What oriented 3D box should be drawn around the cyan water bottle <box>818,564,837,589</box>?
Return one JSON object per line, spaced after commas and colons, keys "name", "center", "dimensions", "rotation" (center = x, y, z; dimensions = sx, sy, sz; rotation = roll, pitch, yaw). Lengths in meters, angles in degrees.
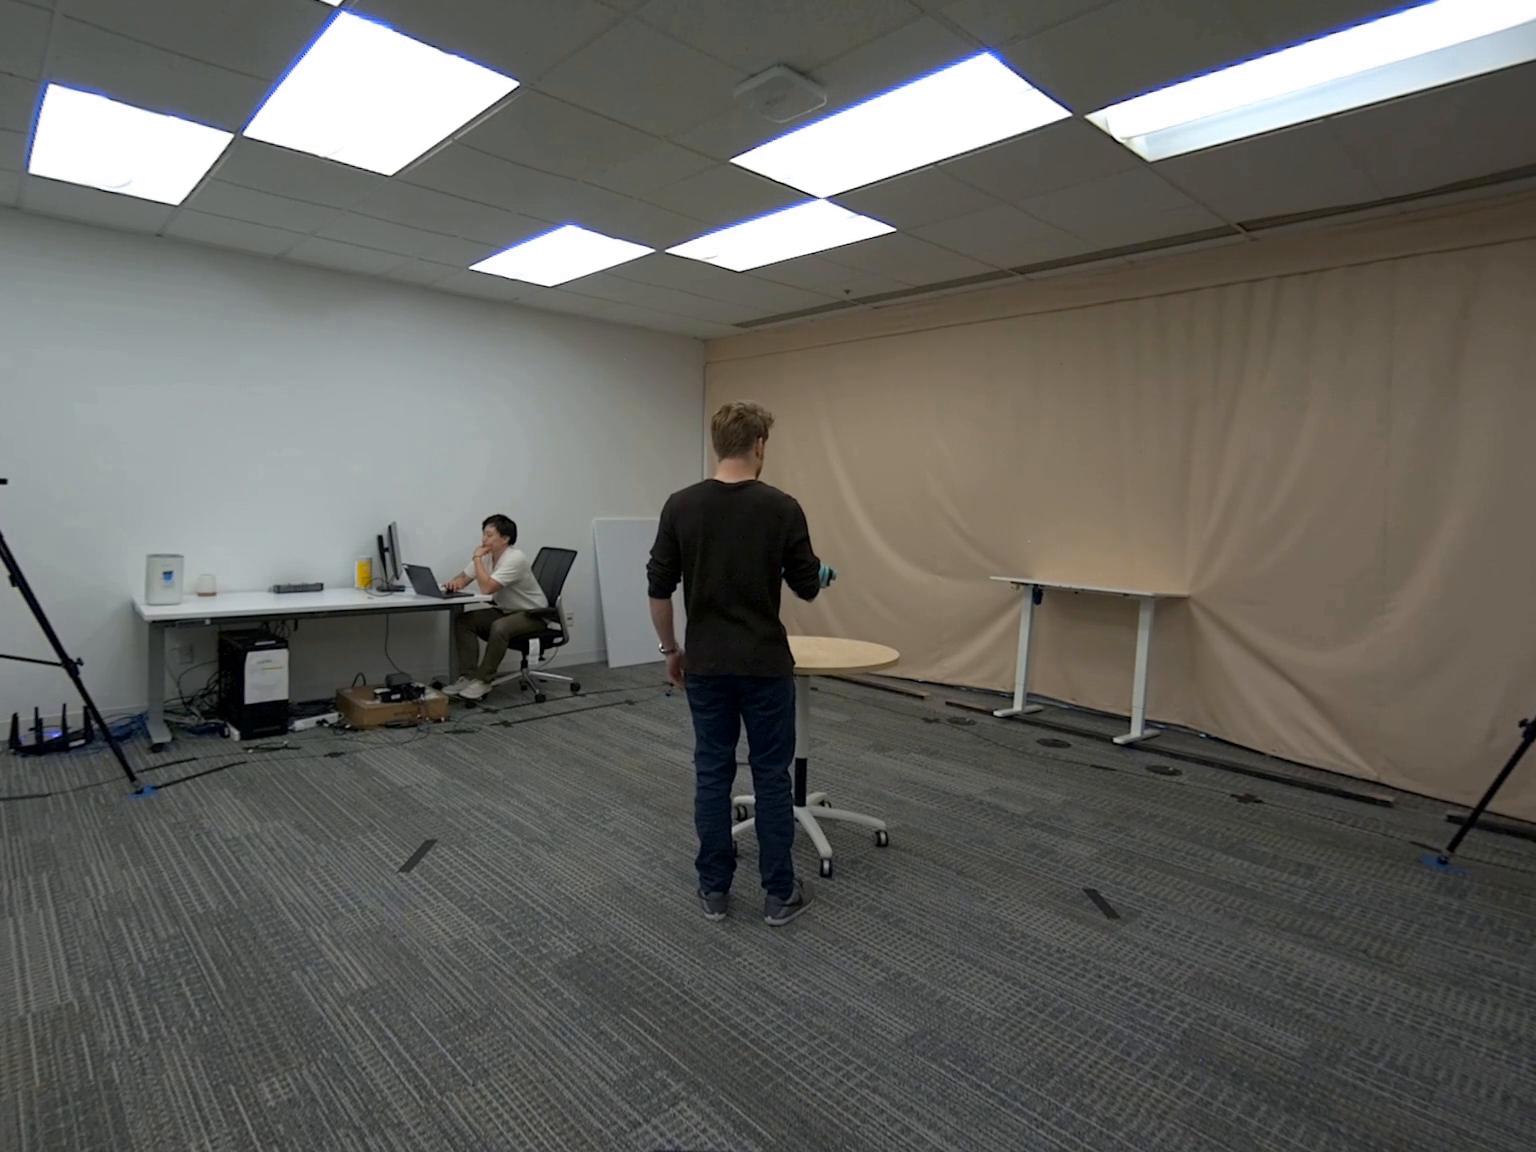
{"name": "cyan water bottle", "center": [0.115, -0.022, 3.195], "dimensions": [0.282, 0.092, 0.093], "rotation": [13, 3, -3]}
